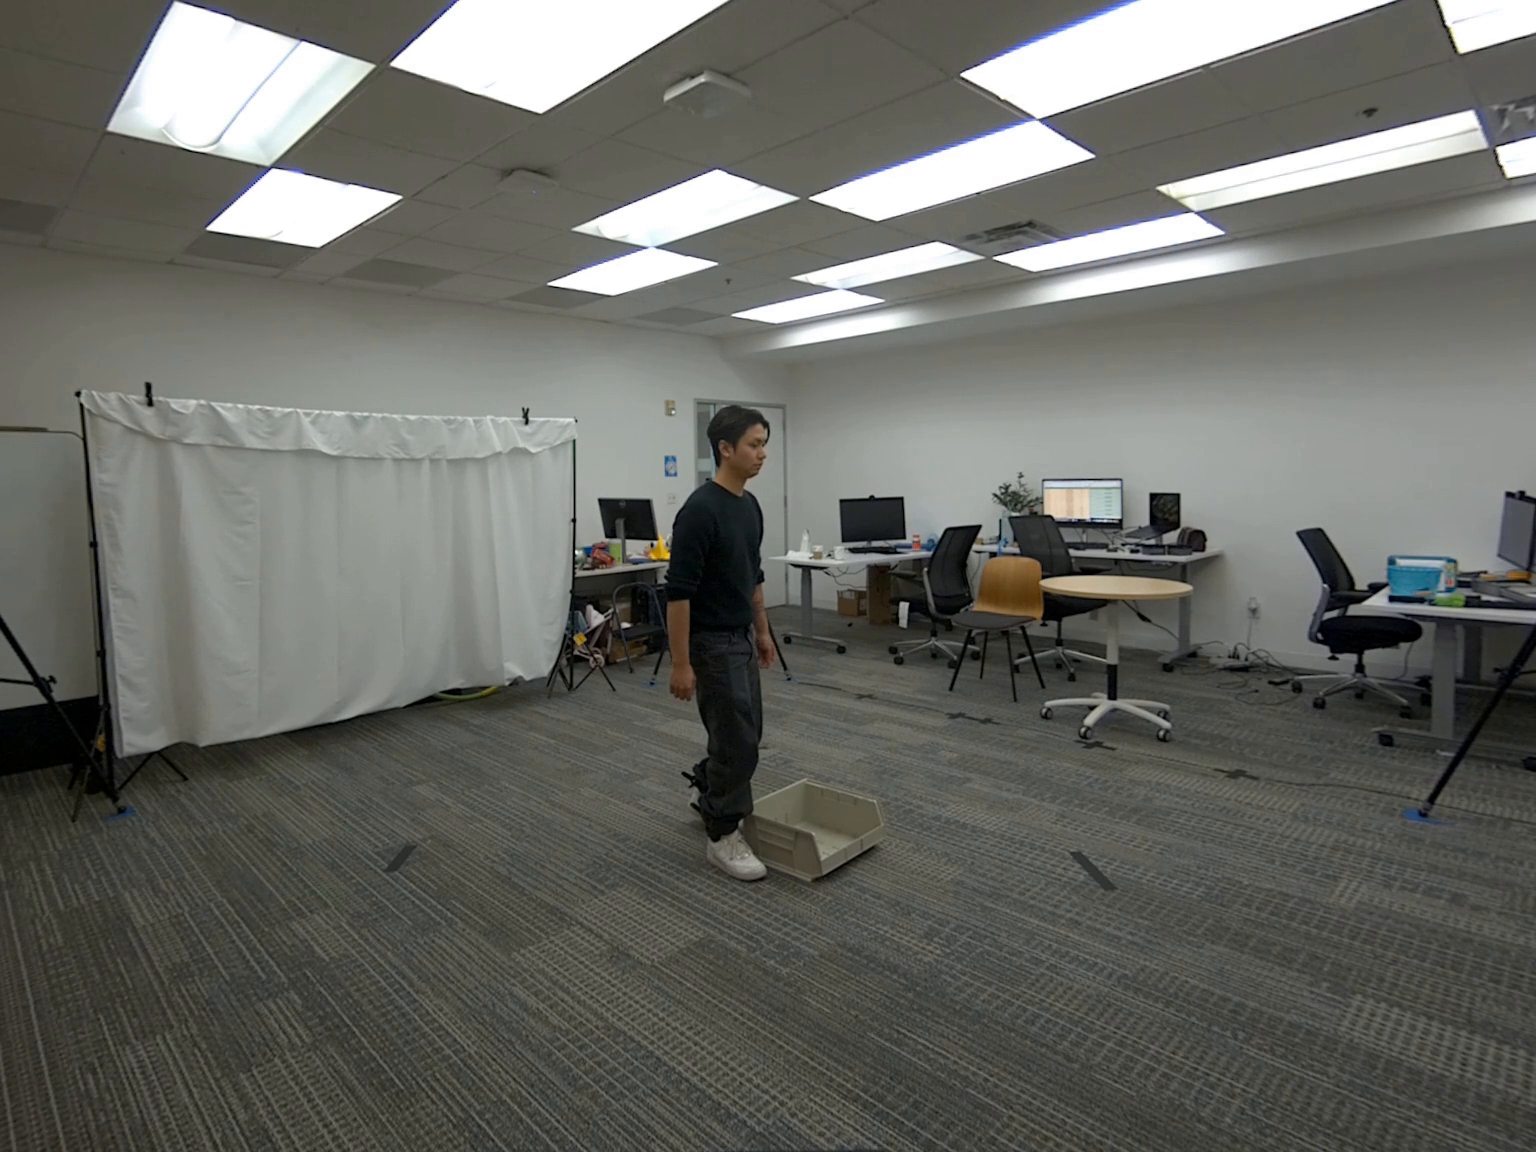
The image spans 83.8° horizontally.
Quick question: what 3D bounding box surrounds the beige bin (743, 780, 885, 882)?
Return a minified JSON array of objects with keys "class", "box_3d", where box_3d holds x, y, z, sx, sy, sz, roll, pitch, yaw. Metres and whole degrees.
[{"class":"beige bin","box_3d":[0.171,0.941,3.182,0.388,0.188,0.412,2,8,41]}]
